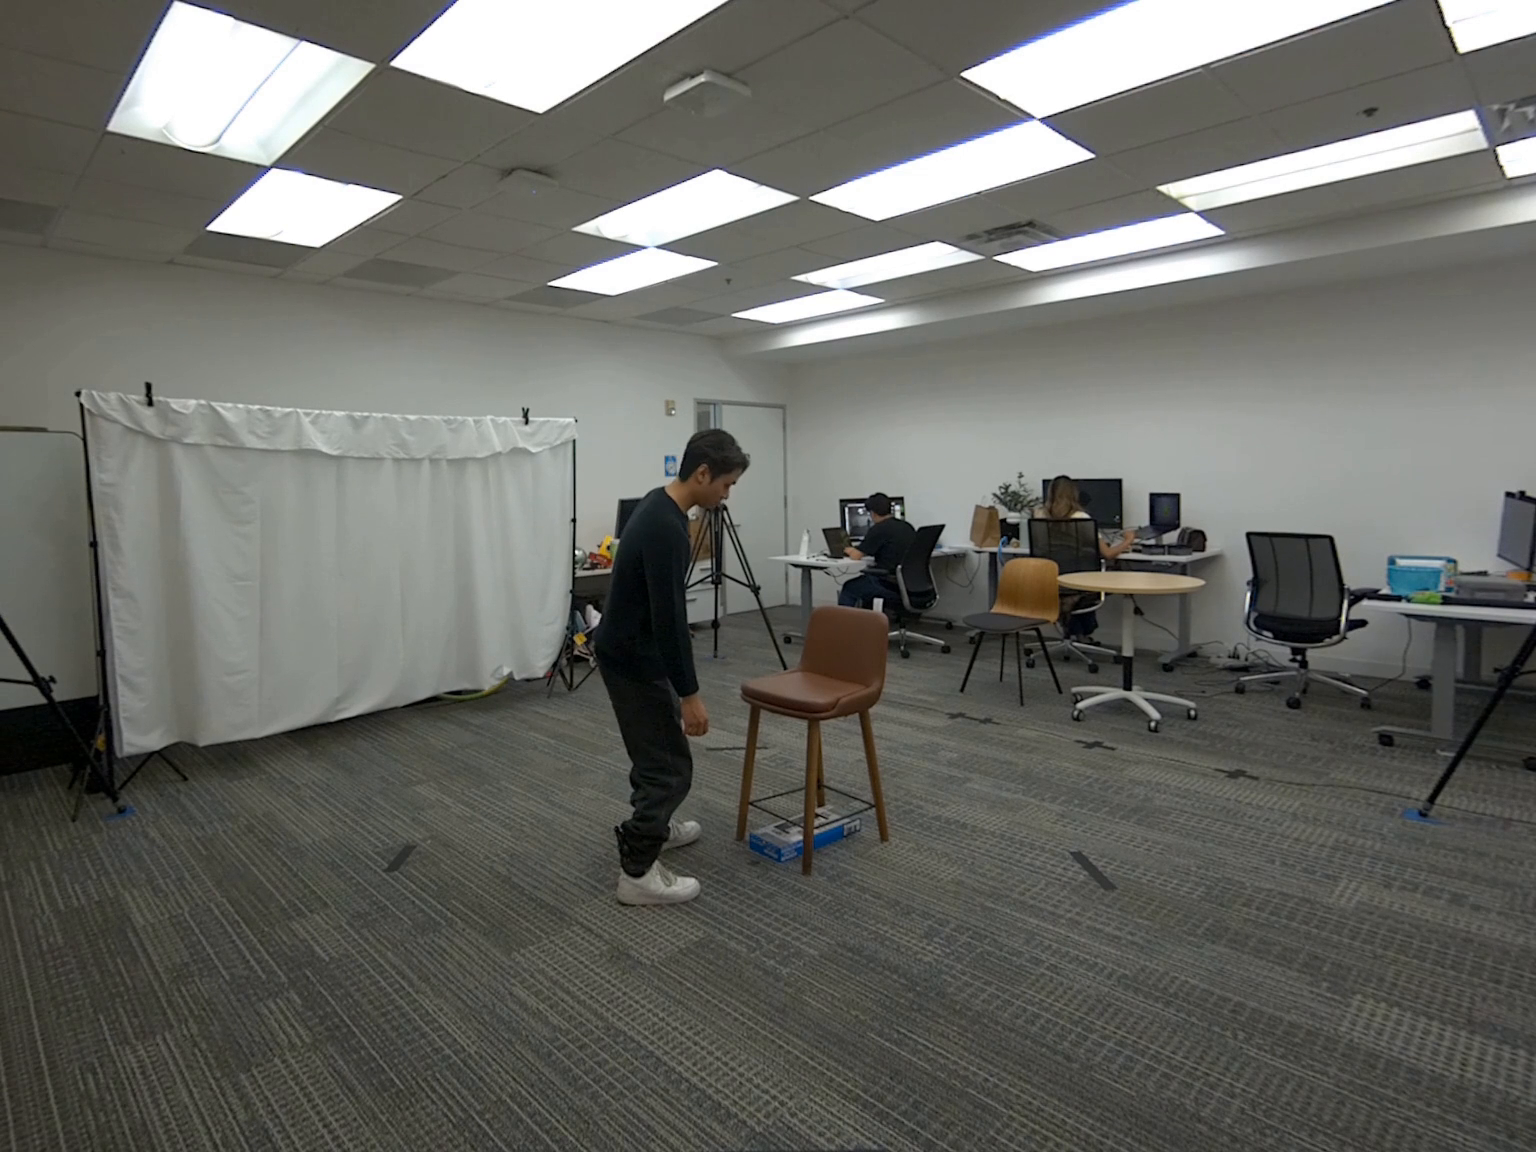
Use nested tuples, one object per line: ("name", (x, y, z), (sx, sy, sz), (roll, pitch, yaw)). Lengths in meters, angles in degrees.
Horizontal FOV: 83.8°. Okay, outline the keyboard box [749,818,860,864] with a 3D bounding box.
("keyboard box", (0.158, 0.998, 3.298), (0.426, 0.059, 0.182), (-7, 12, -40))
